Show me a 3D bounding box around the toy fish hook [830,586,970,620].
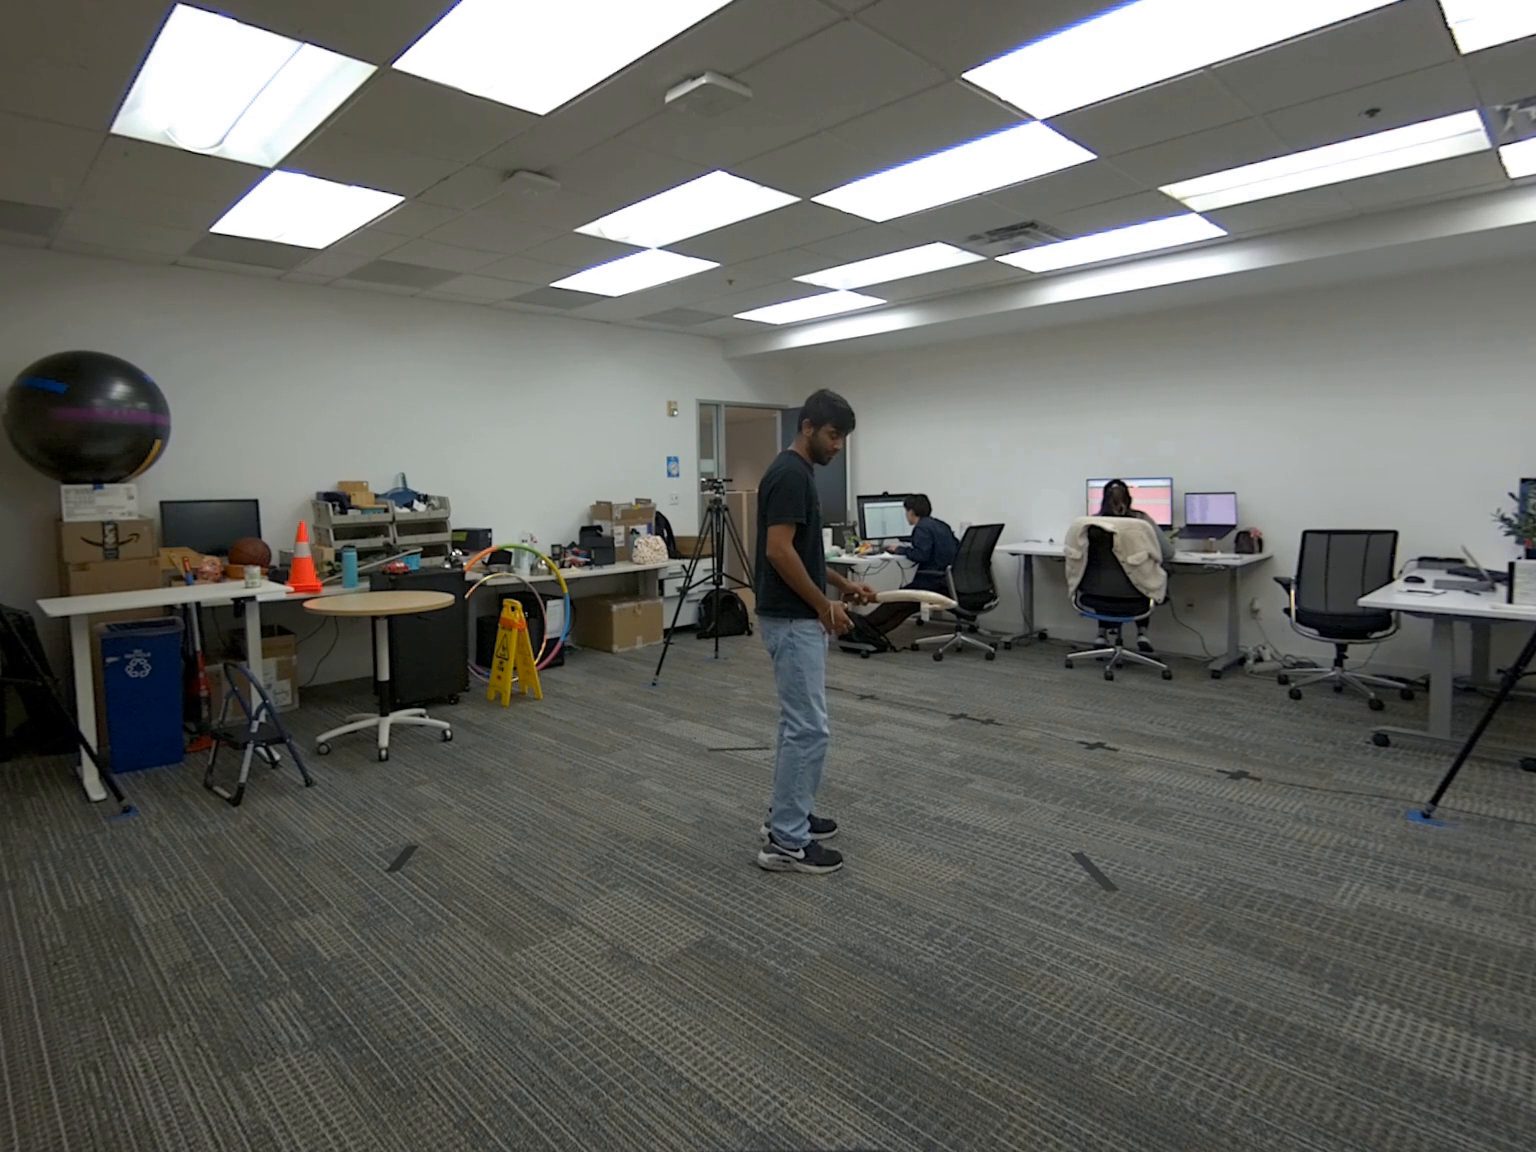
[{"bbox_3d":[0.491,0.101,3.284,0.217,0.049,0.519,24,-15,-33],"label":"toy fish hook"}]
